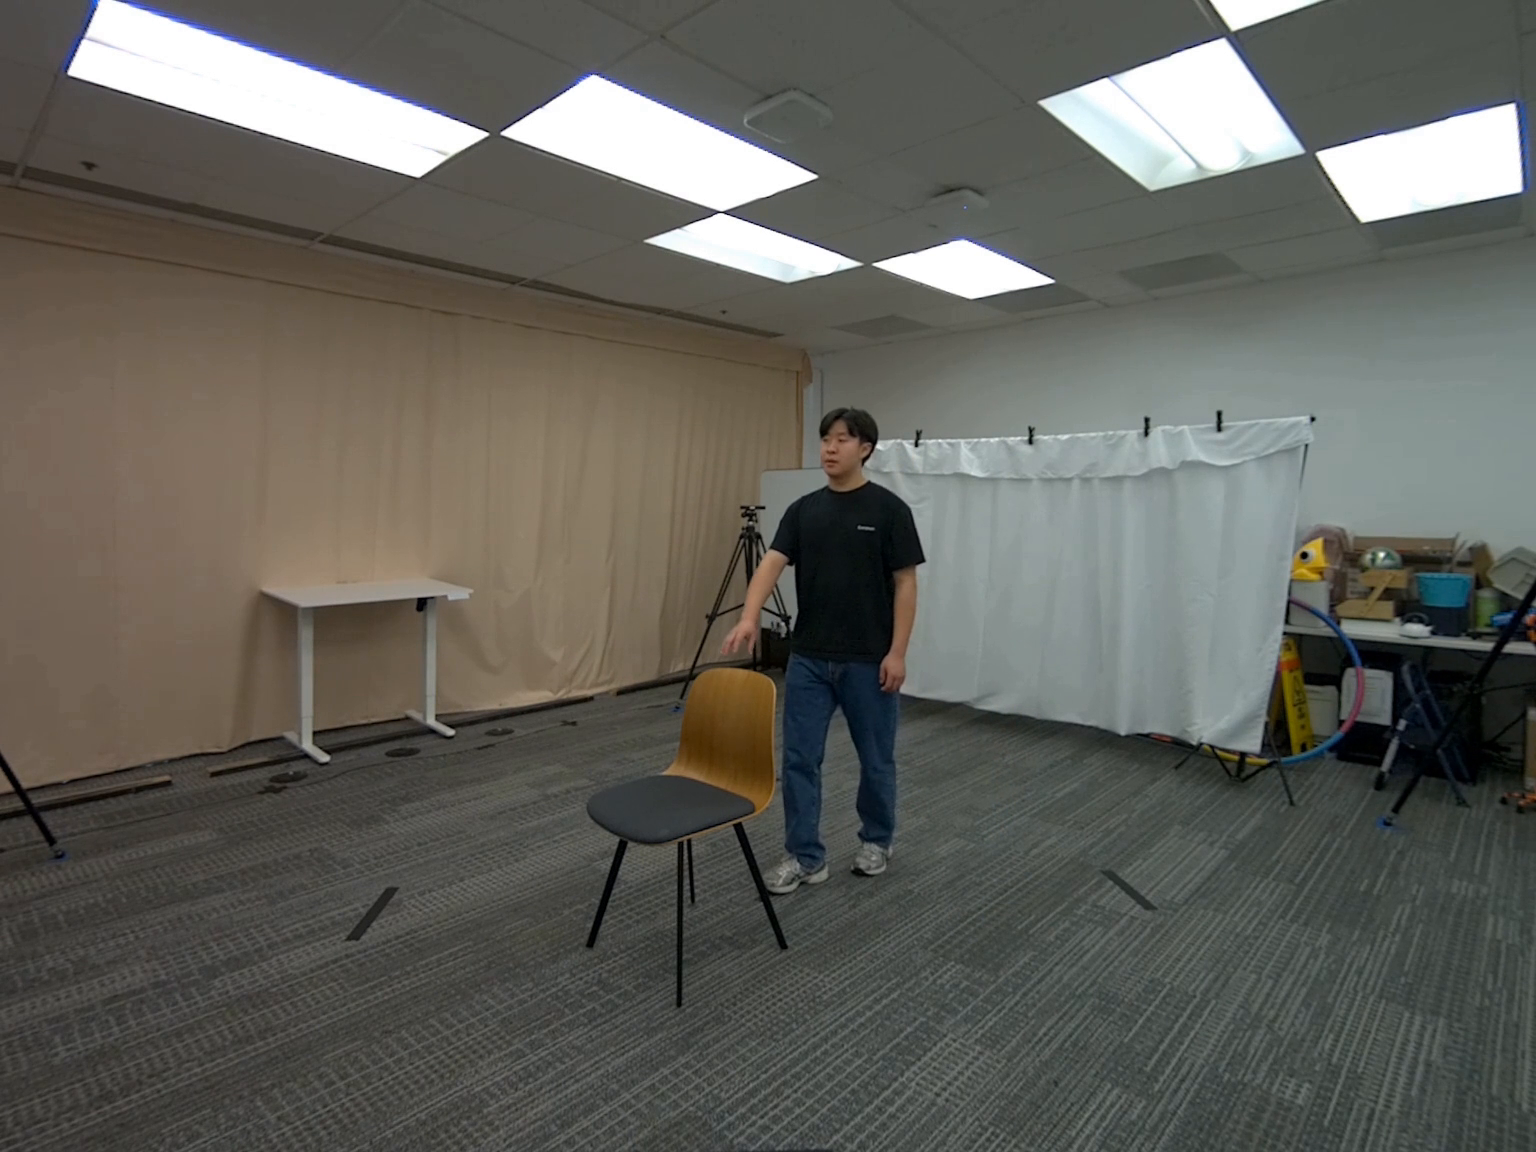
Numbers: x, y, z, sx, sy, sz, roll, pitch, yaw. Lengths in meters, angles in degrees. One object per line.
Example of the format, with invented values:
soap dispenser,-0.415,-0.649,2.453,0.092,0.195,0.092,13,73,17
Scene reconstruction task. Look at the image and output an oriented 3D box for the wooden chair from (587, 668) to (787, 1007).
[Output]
wooden chair,-0.258,0.749,2.619,0.494,0.877,0.506,3,1,45
